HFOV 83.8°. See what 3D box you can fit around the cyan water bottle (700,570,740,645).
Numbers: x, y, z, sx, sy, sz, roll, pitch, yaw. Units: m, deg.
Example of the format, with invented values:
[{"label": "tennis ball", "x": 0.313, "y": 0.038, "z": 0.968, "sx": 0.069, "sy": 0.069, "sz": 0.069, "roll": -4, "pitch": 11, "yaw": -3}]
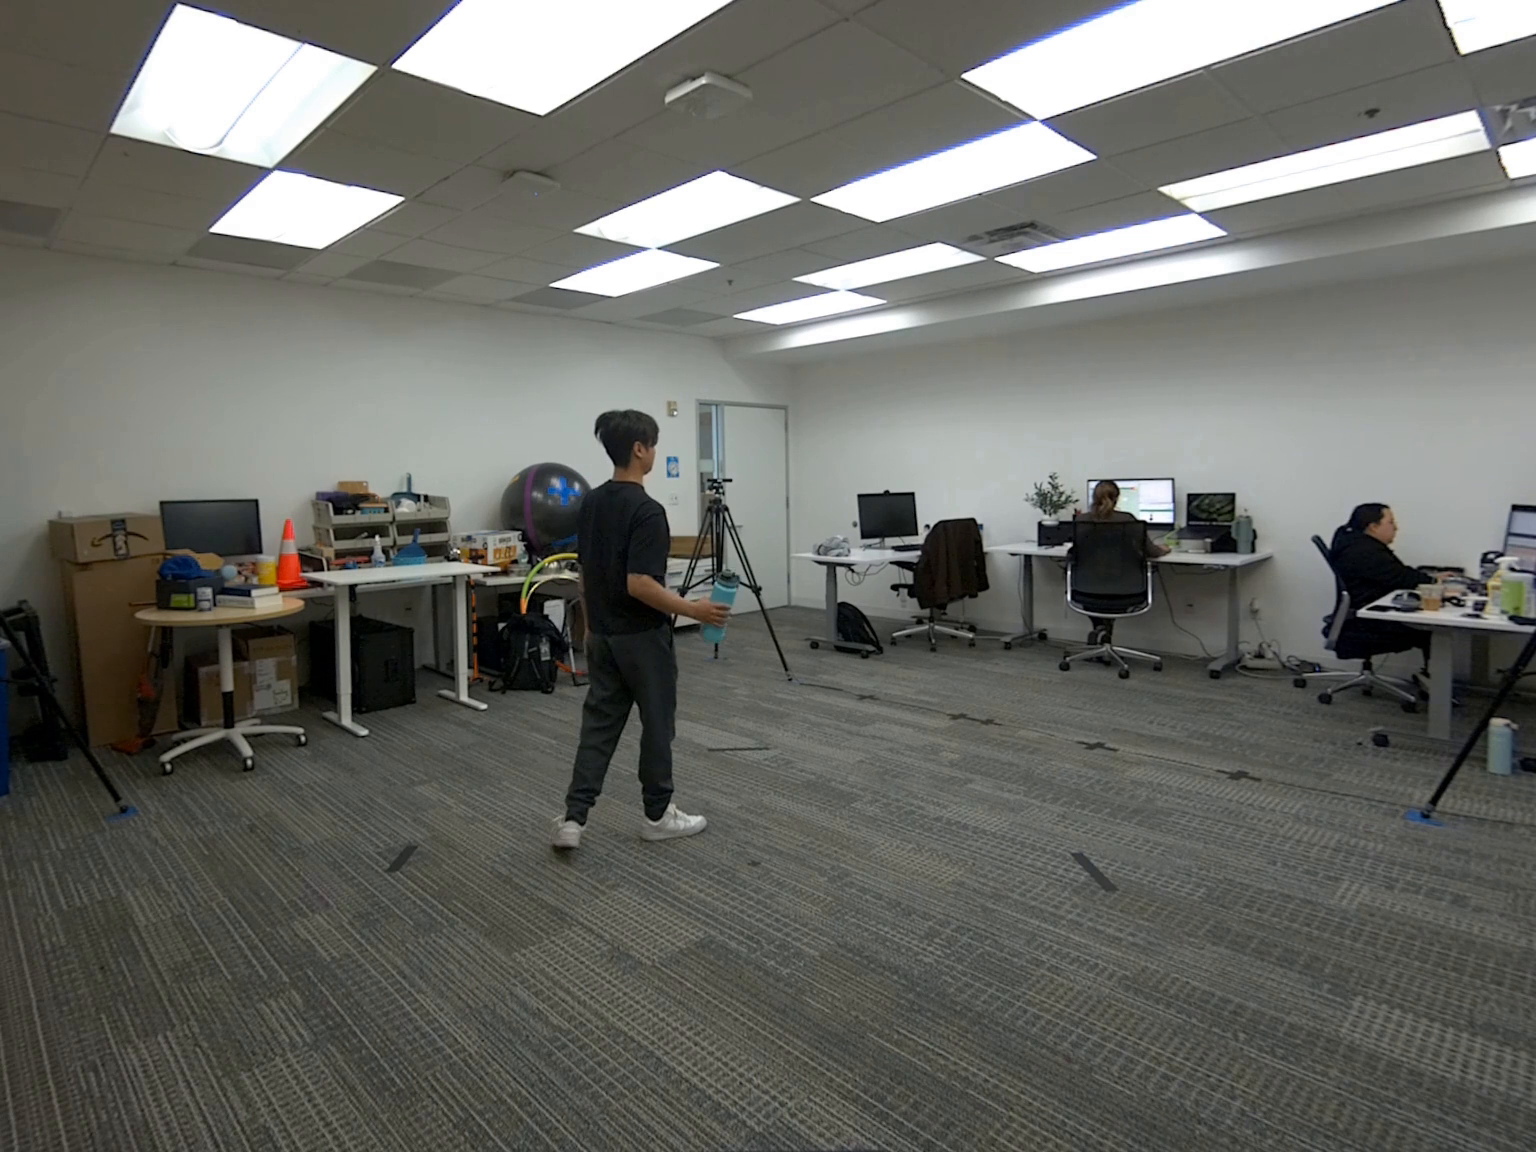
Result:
[{"label": "cyan water bottle", "x": -0.187, "y": 0.107, "z": 3.183, "sx": 0.092, "sy": 0.281, "sz": 0.094, "roll": 15, "pitch": 17, "yaw": -7}]
